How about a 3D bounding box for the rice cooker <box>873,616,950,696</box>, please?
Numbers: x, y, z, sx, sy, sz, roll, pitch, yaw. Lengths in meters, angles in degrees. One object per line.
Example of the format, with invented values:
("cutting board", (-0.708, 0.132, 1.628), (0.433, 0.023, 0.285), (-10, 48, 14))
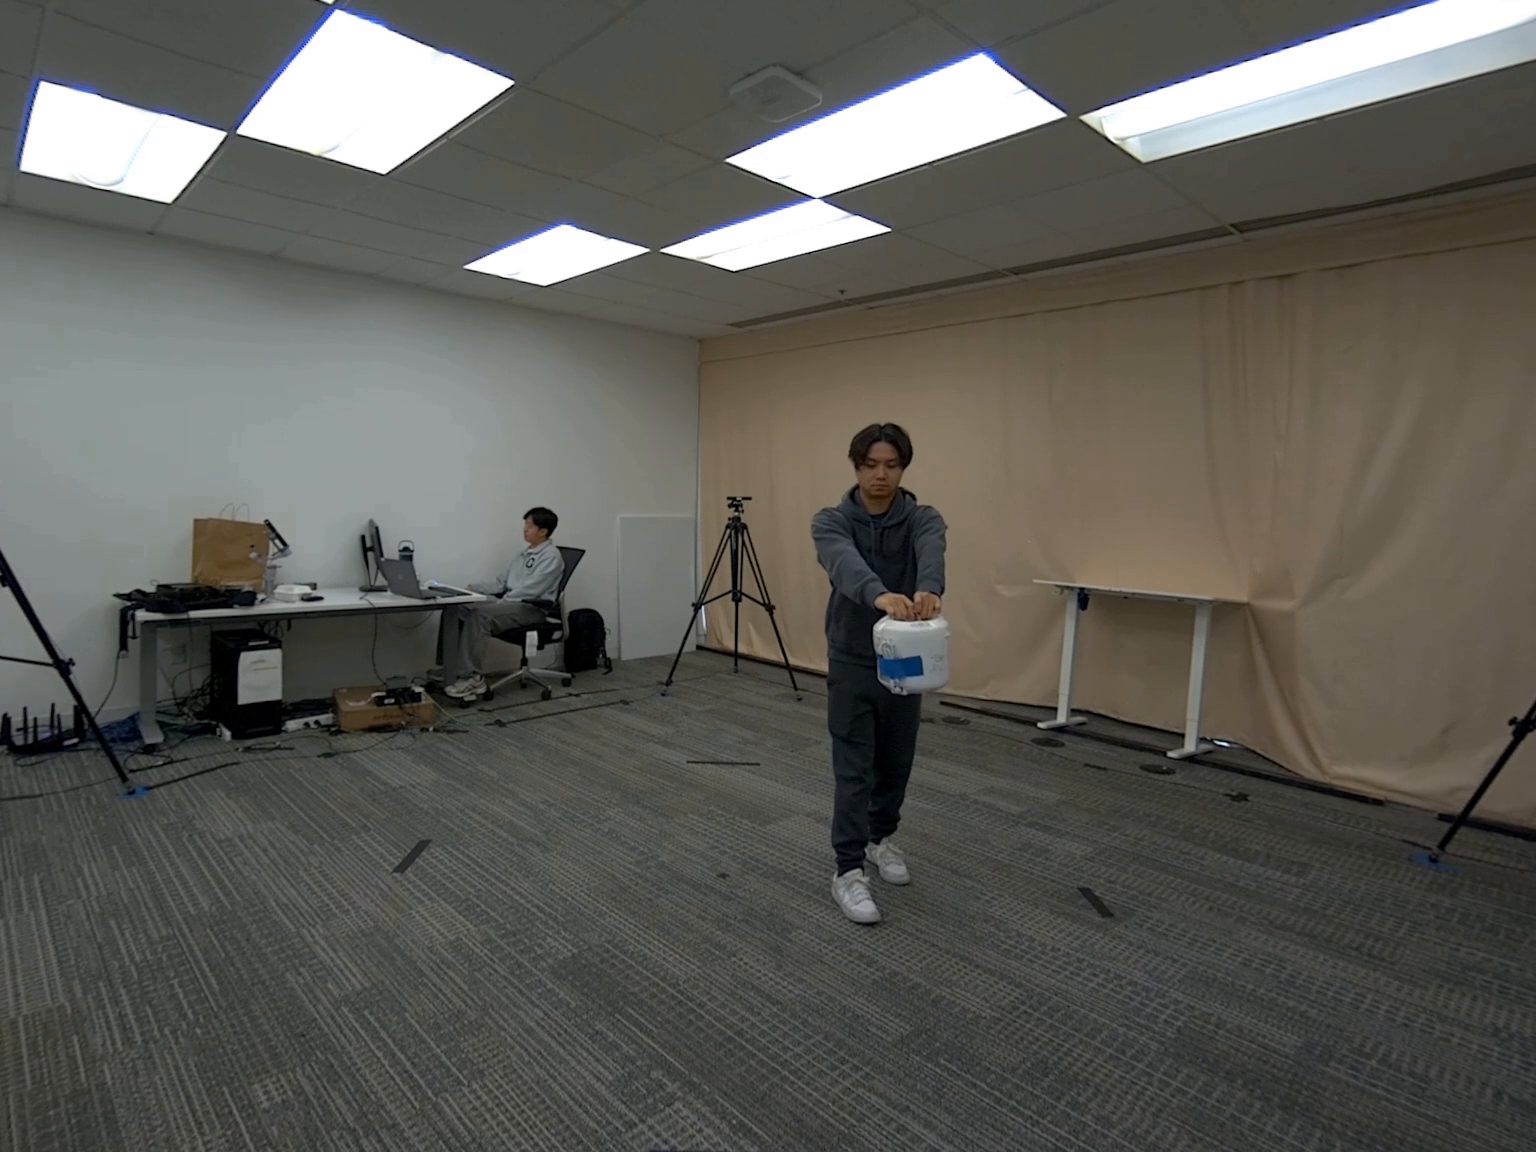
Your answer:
("rice cooker", (0.408, 0.206, 2.449), (0.220, 0.231, 0.219), (-2, 7, -4))
